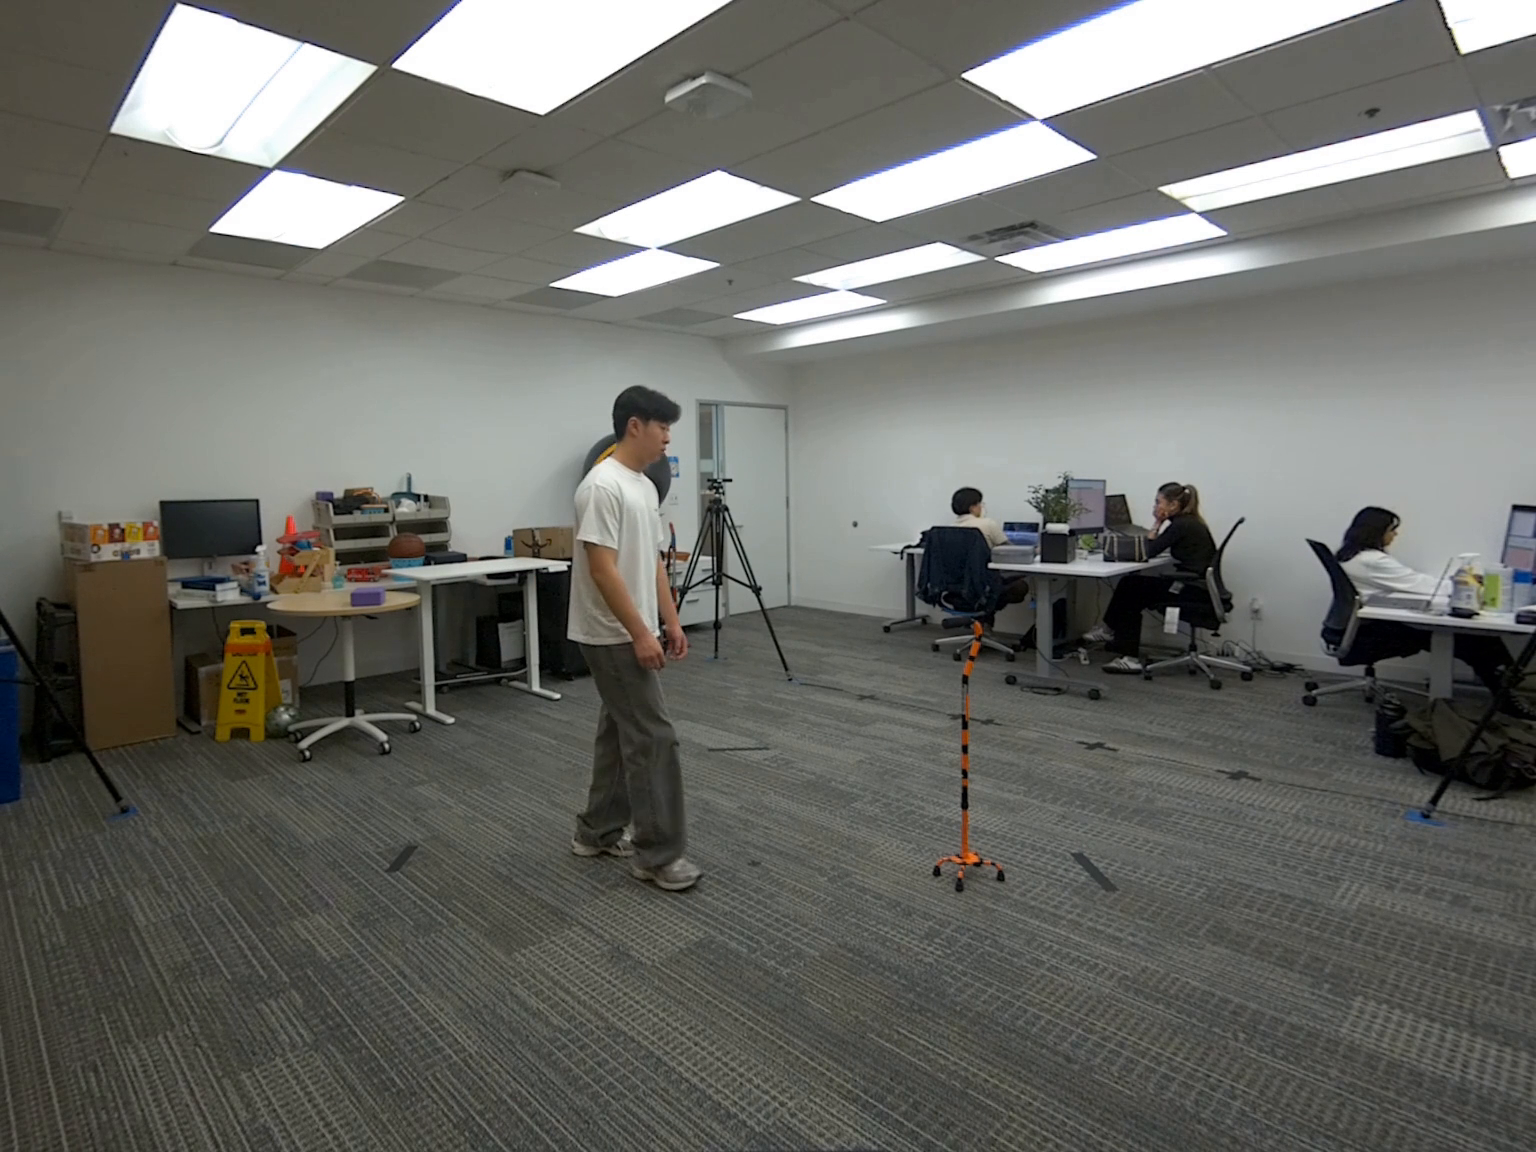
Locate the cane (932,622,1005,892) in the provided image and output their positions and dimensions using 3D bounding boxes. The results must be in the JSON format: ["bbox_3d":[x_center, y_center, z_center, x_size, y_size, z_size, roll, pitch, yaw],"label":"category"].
[{"bbox_3d":[0.696,0.592,2.939,0.202,0.905,0.155,-2,4,-26],"label":"cane"}]
